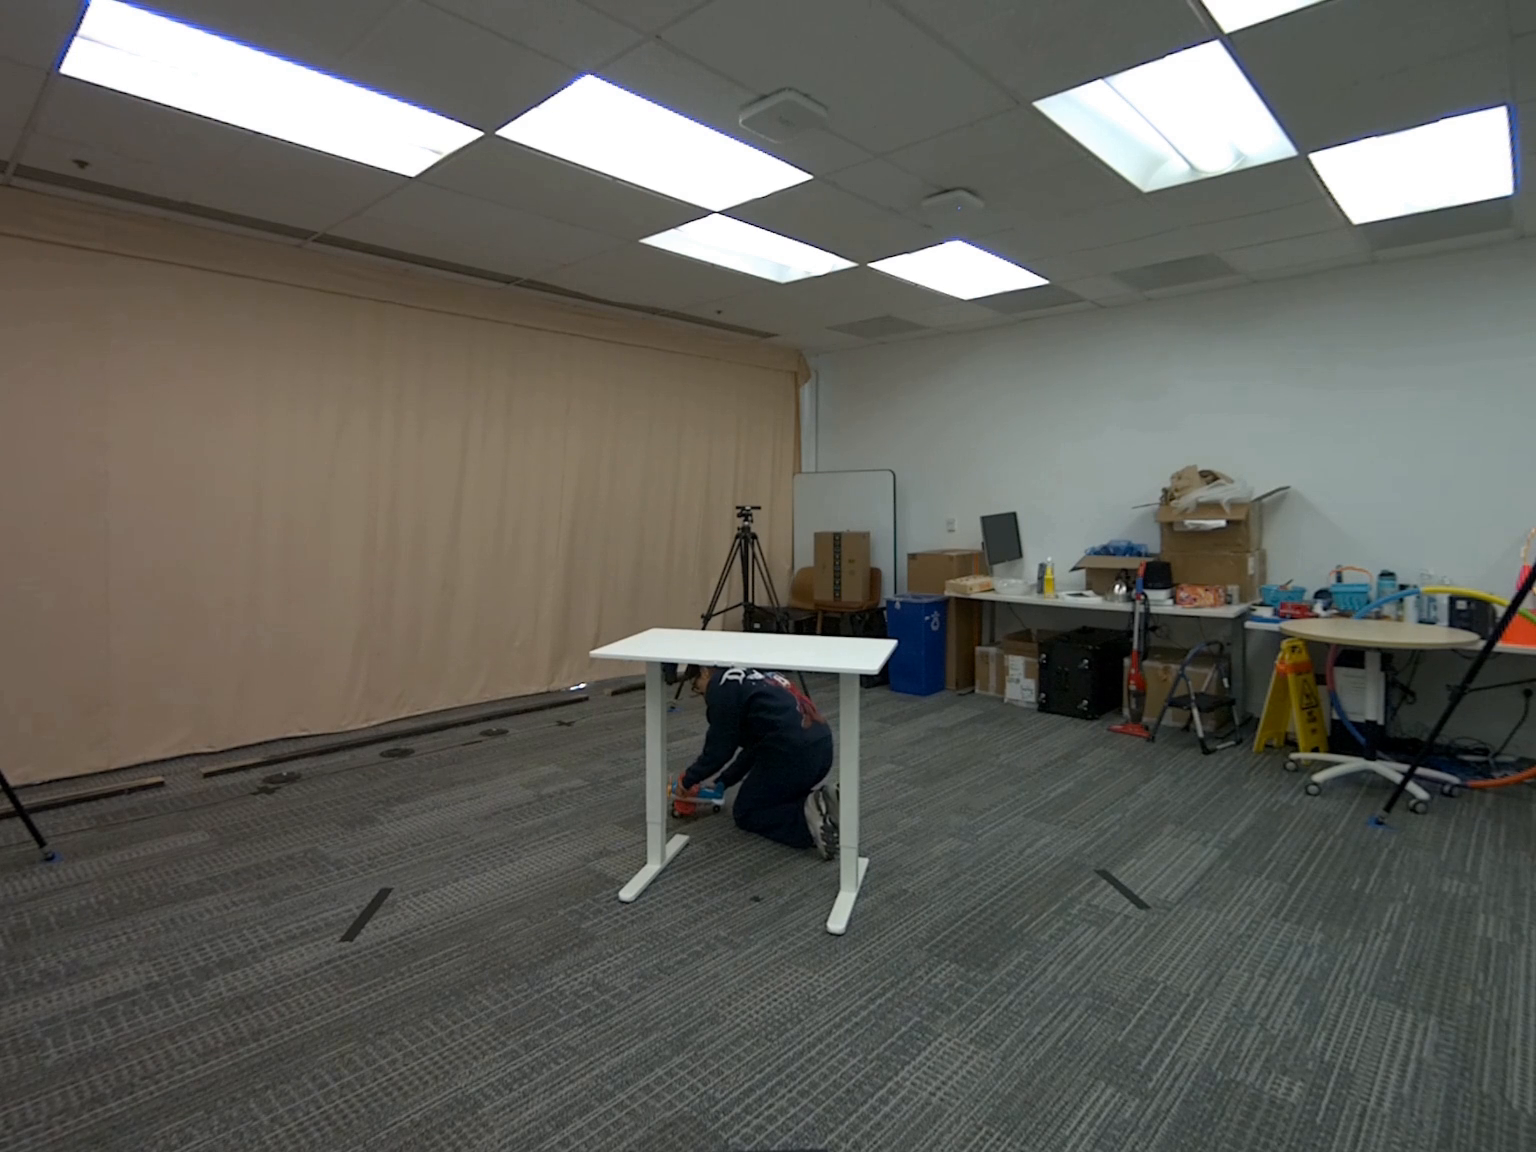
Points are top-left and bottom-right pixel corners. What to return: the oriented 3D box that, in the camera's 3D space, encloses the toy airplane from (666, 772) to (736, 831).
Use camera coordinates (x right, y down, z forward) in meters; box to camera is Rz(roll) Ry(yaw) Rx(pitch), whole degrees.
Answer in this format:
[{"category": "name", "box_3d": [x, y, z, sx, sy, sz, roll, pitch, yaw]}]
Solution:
[{"category": "toy airplane", "box_3d": [-0.288, 0.997, 3.839, 0.252, 0.155, 0.259, -5, 11, -34]}]
